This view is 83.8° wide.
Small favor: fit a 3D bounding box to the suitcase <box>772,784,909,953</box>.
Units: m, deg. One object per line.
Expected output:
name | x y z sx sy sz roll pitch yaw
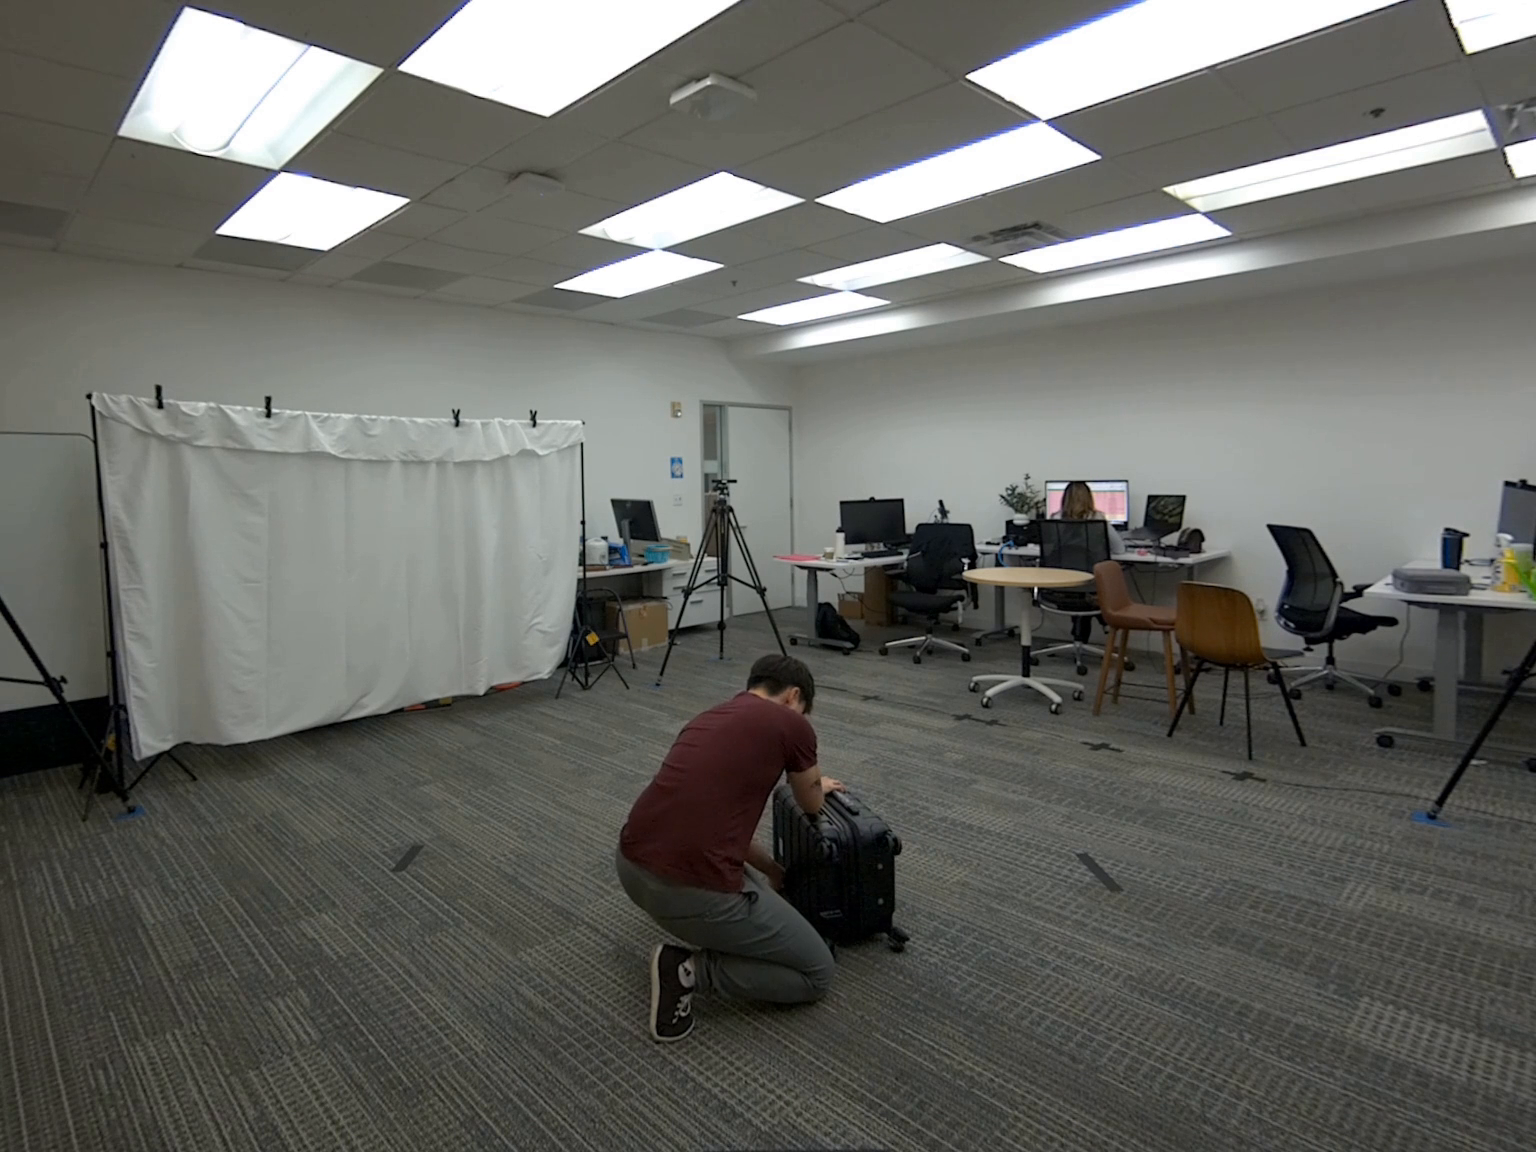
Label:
suitcase | 0.141 0.868 2.948 0.253 0.382 0.998 -2 6 -18
